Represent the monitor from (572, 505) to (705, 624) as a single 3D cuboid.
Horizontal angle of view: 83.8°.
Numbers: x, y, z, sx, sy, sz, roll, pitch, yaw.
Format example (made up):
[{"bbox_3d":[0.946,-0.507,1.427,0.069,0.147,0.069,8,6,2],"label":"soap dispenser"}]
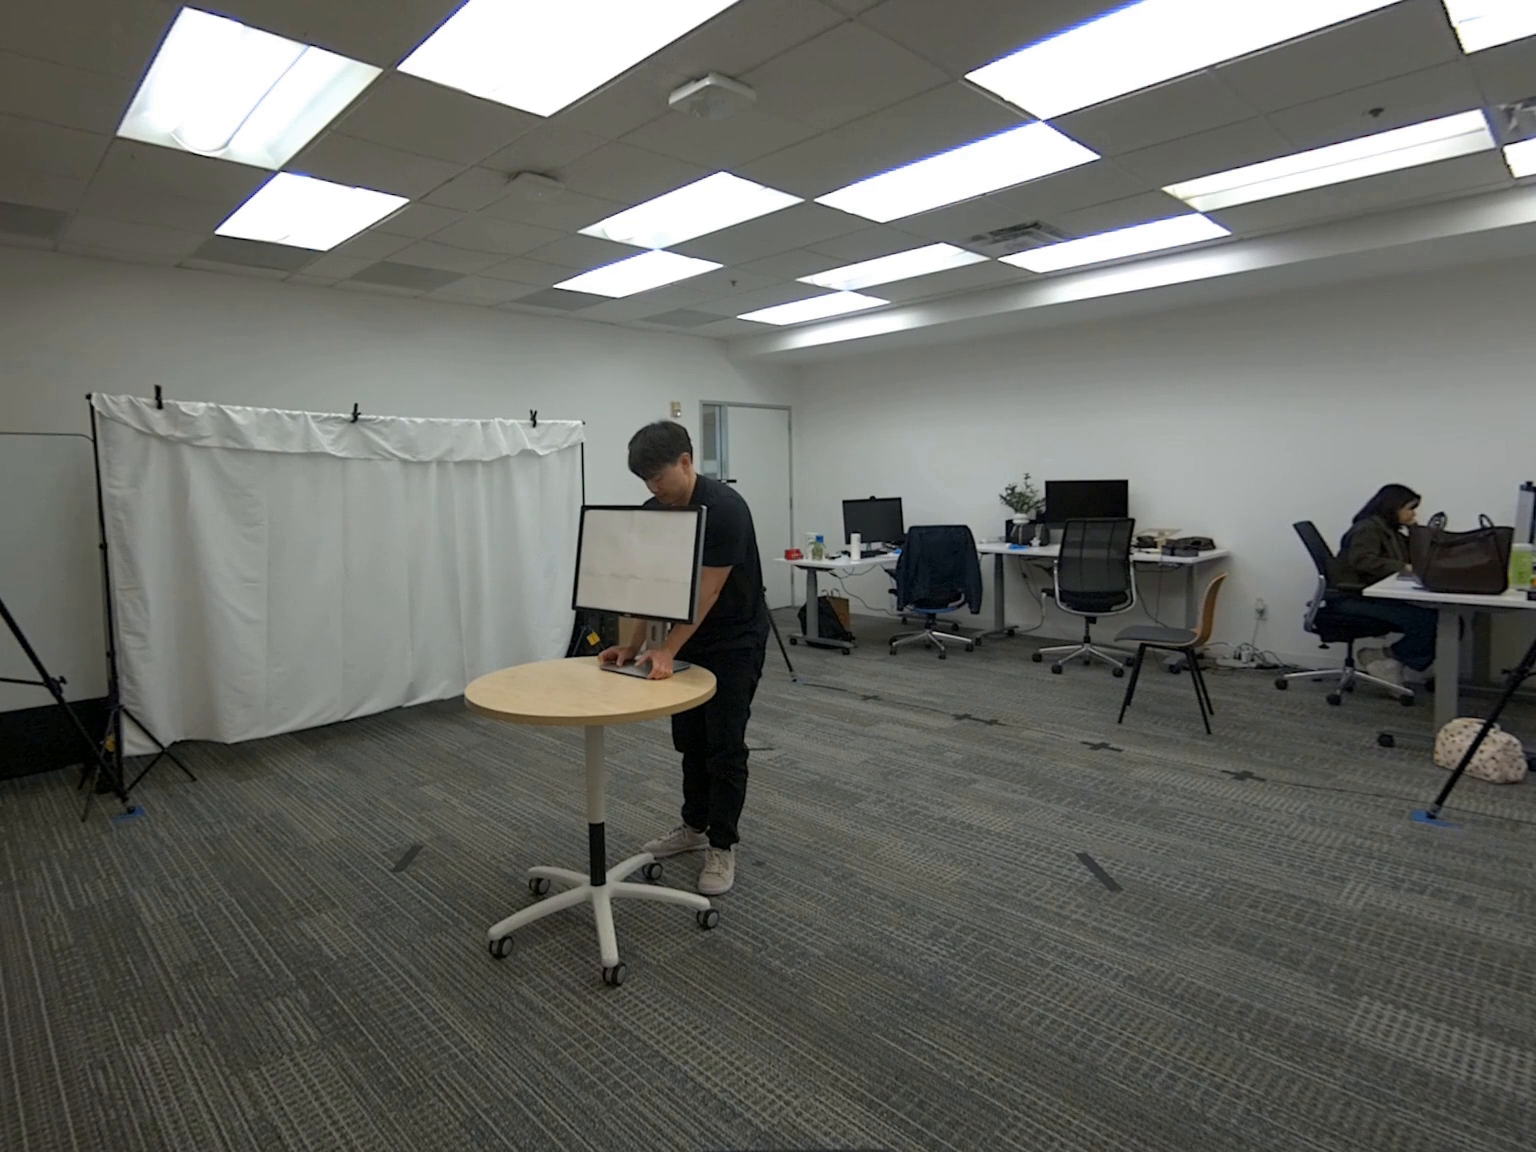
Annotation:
[{"bbox_3d":[-0.407,0.042,2.792,0.555,0.520,0.182,2,6,39],"label":"monitor"}]
